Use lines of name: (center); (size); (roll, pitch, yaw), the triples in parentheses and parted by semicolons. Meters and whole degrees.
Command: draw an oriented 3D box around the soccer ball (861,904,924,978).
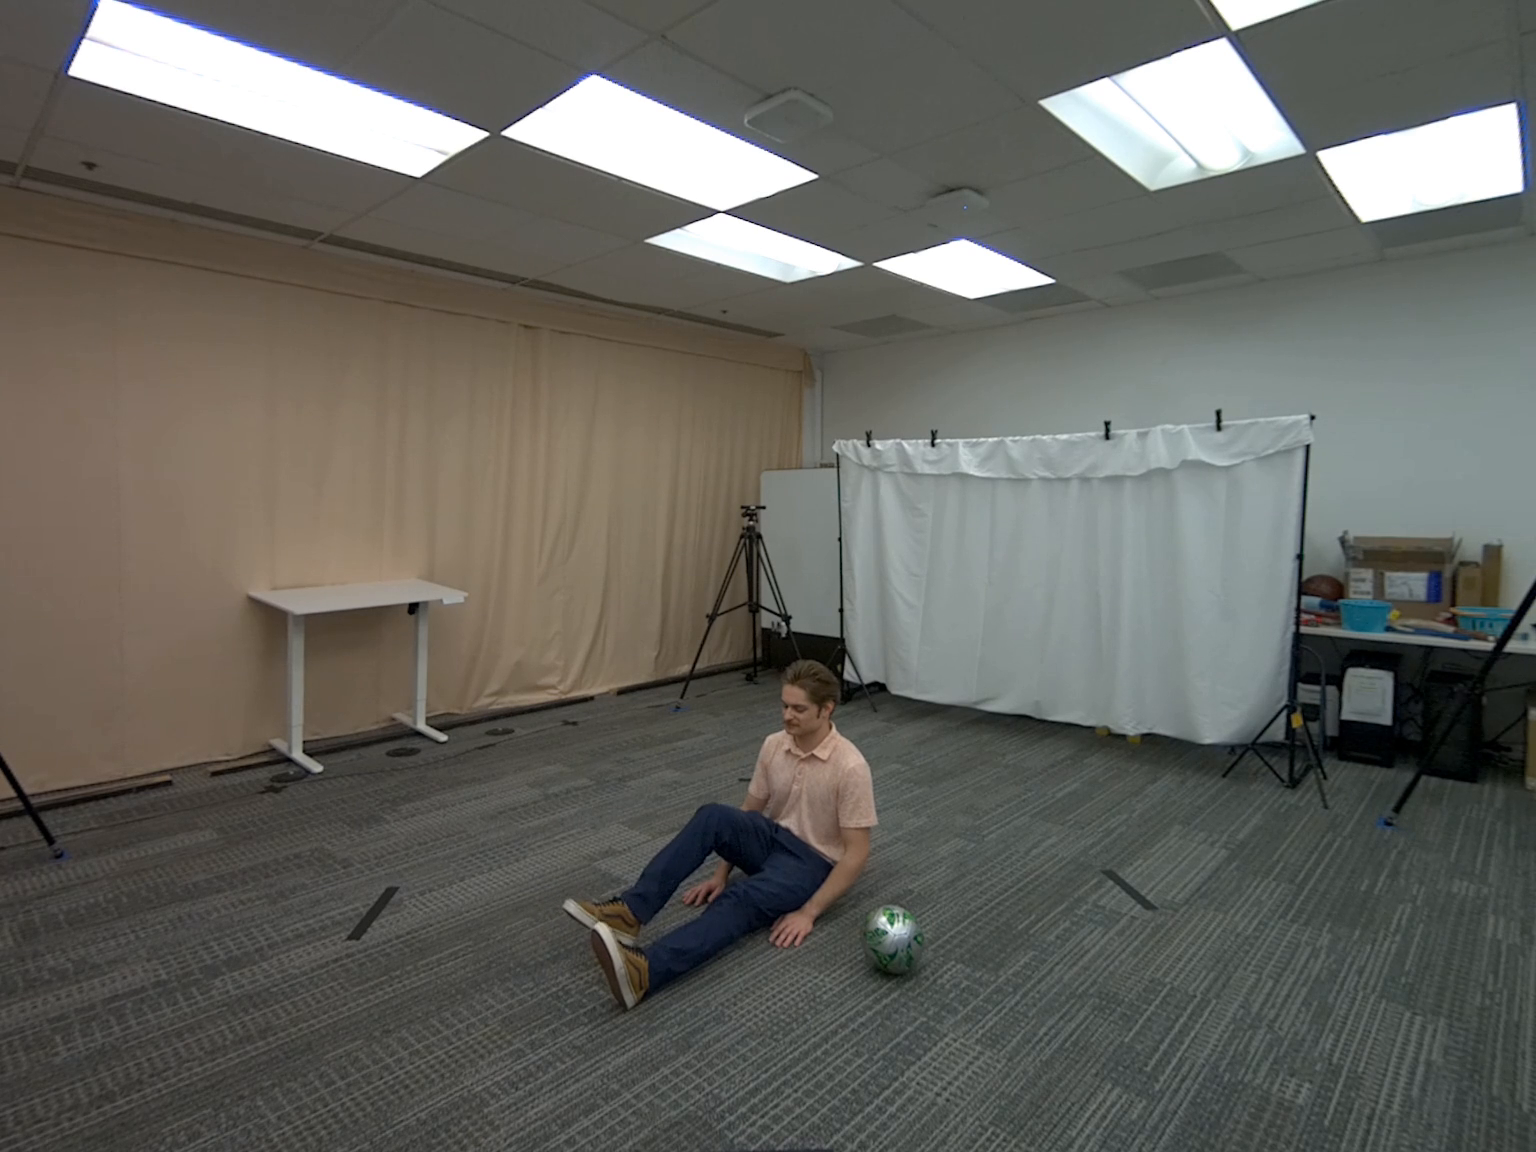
soccer ball: (0.373, 1.085, 2.525); (0.187, 0.187, 0.188); (0, 4, -2)
